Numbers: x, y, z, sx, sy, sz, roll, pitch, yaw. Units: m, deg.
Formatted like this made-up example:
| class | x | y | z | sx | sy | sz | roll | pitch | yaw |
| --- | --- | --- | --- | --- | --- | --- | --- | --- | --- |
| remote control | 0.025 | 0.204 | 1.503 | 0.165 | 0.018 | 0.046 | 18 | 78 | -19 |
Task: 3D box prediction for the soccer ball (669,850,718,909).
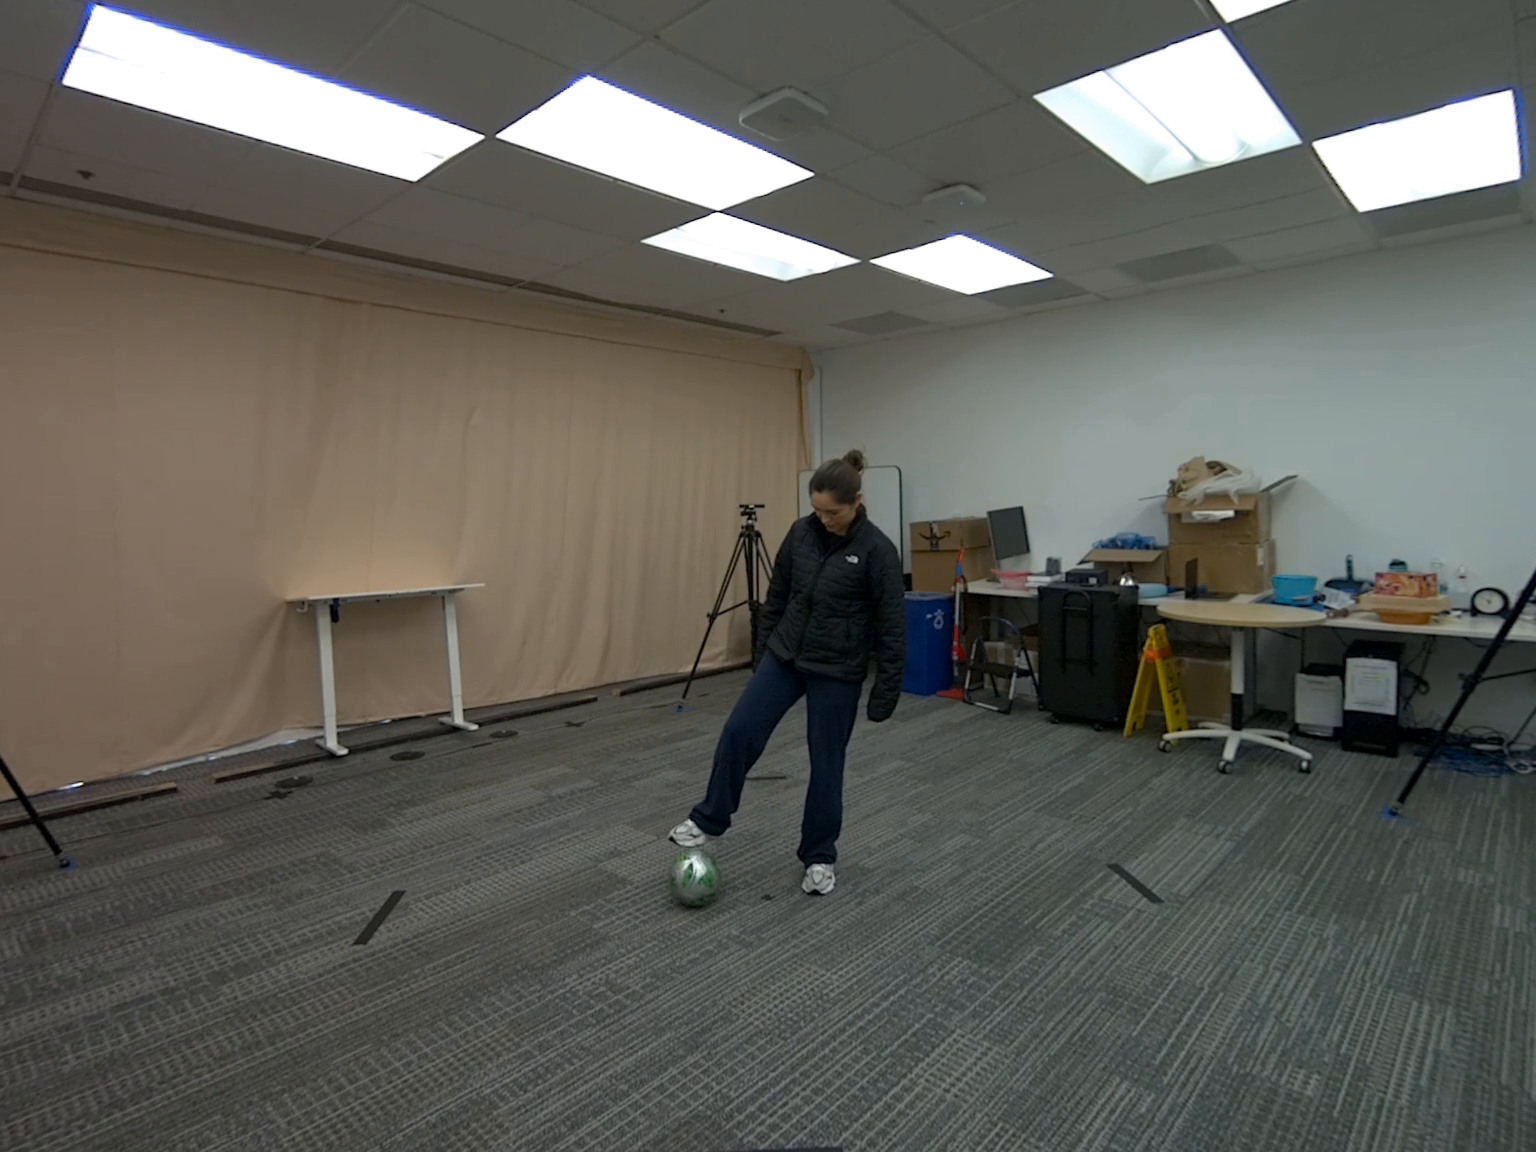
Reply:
| class | x | y | z | sx | sy | sz | roll | pitch | yaw |
| --- | --- | --- | --- | --- | --- | --- | --- | --- | --- |
| soccer ball | -0.253 | 1.052 | 2.942 | 0.187 | 0.187 | 0.188 | -1 | 4 | -2 |
